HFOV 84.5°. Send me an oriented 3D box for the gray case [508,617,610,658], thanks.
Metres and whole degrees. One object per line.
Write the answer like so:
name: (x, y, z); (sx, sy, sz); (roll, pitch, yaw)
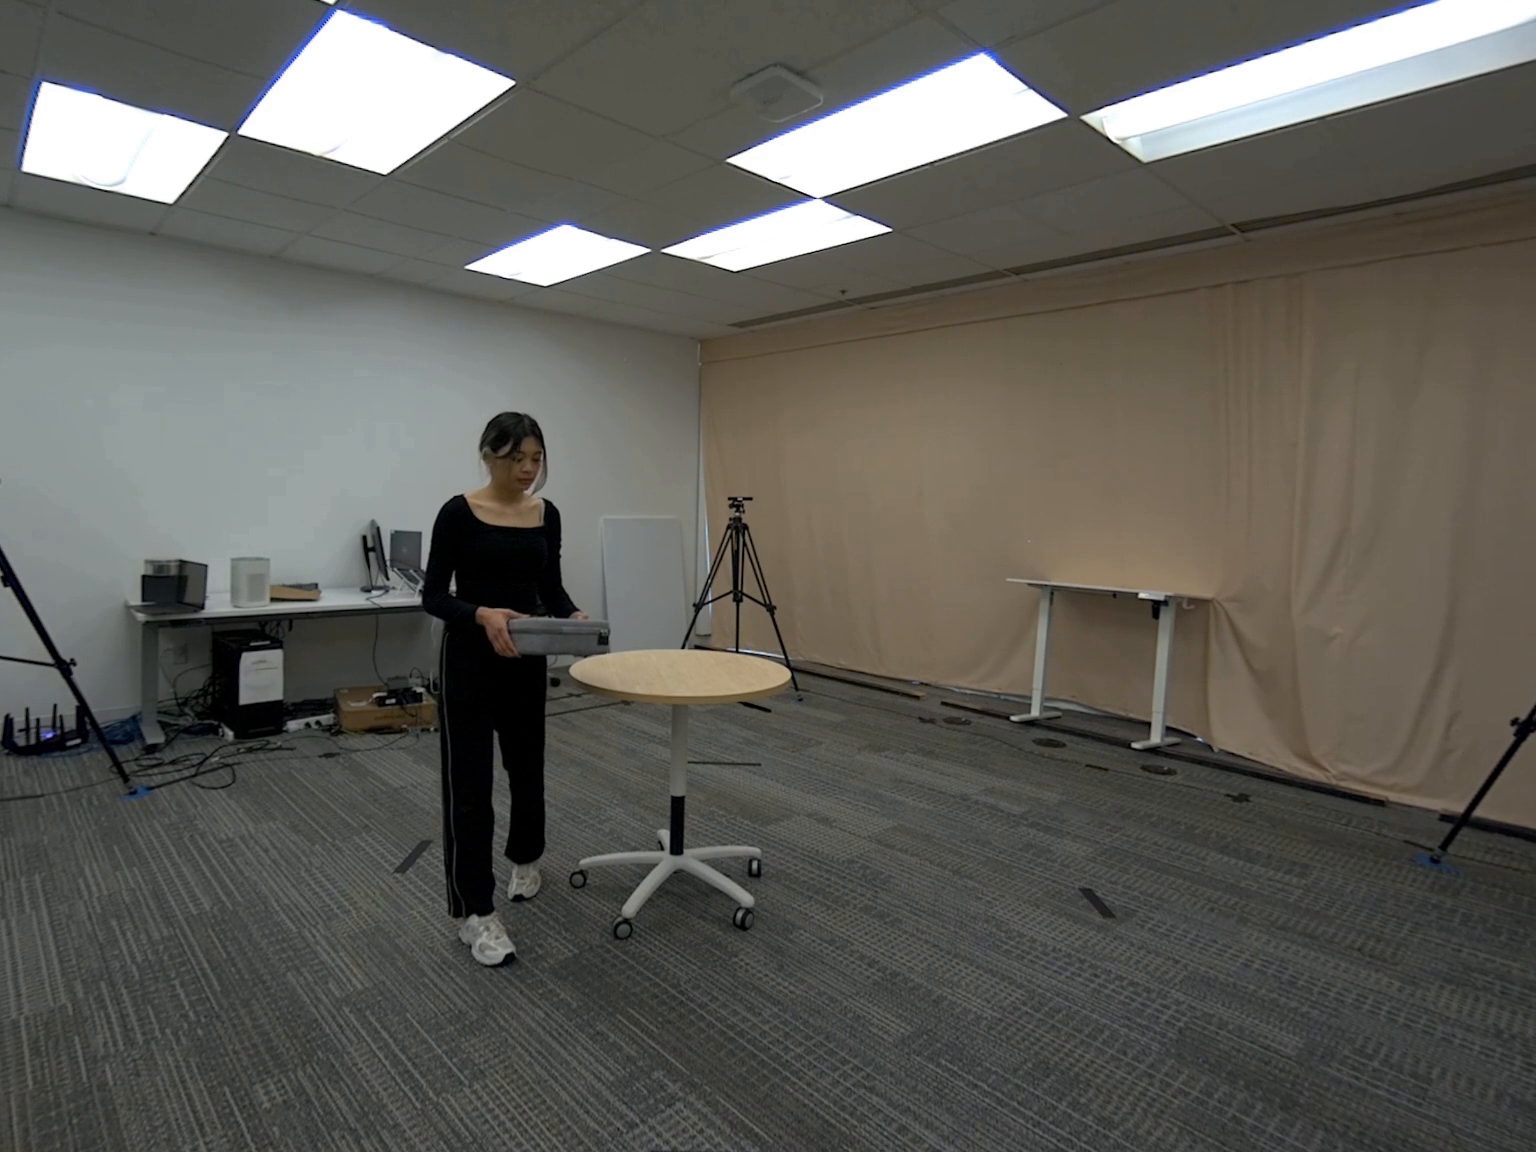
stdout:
gray case: (-0.631, 0.175, 2.493); (0.251, 0.105, 0.265); (2, -5, -31)
